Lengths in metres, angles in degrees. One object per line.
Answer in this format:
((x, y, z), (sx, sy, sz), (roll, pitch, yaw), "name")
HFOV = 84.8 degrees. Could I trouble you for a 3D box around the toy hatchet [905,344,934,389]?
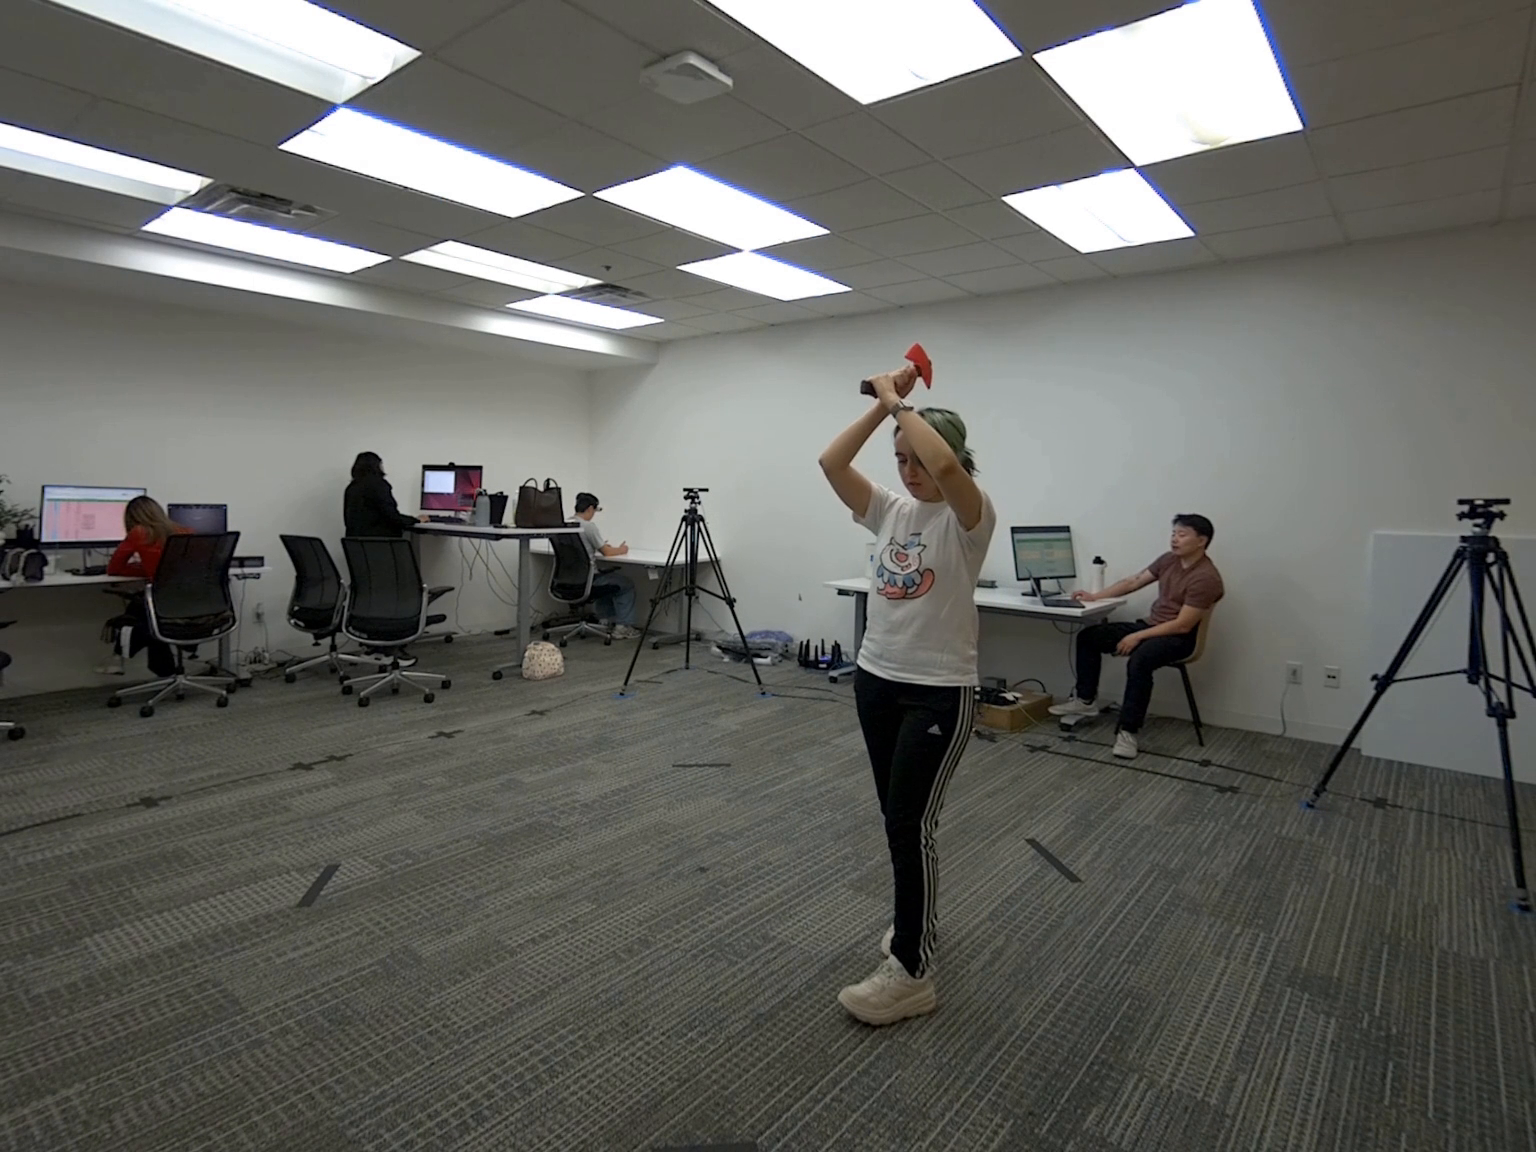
((0.344, -0.577, 2.326), (0.264, 0.130, 0.030), (-11, 13, -33), "toy hatchet")
